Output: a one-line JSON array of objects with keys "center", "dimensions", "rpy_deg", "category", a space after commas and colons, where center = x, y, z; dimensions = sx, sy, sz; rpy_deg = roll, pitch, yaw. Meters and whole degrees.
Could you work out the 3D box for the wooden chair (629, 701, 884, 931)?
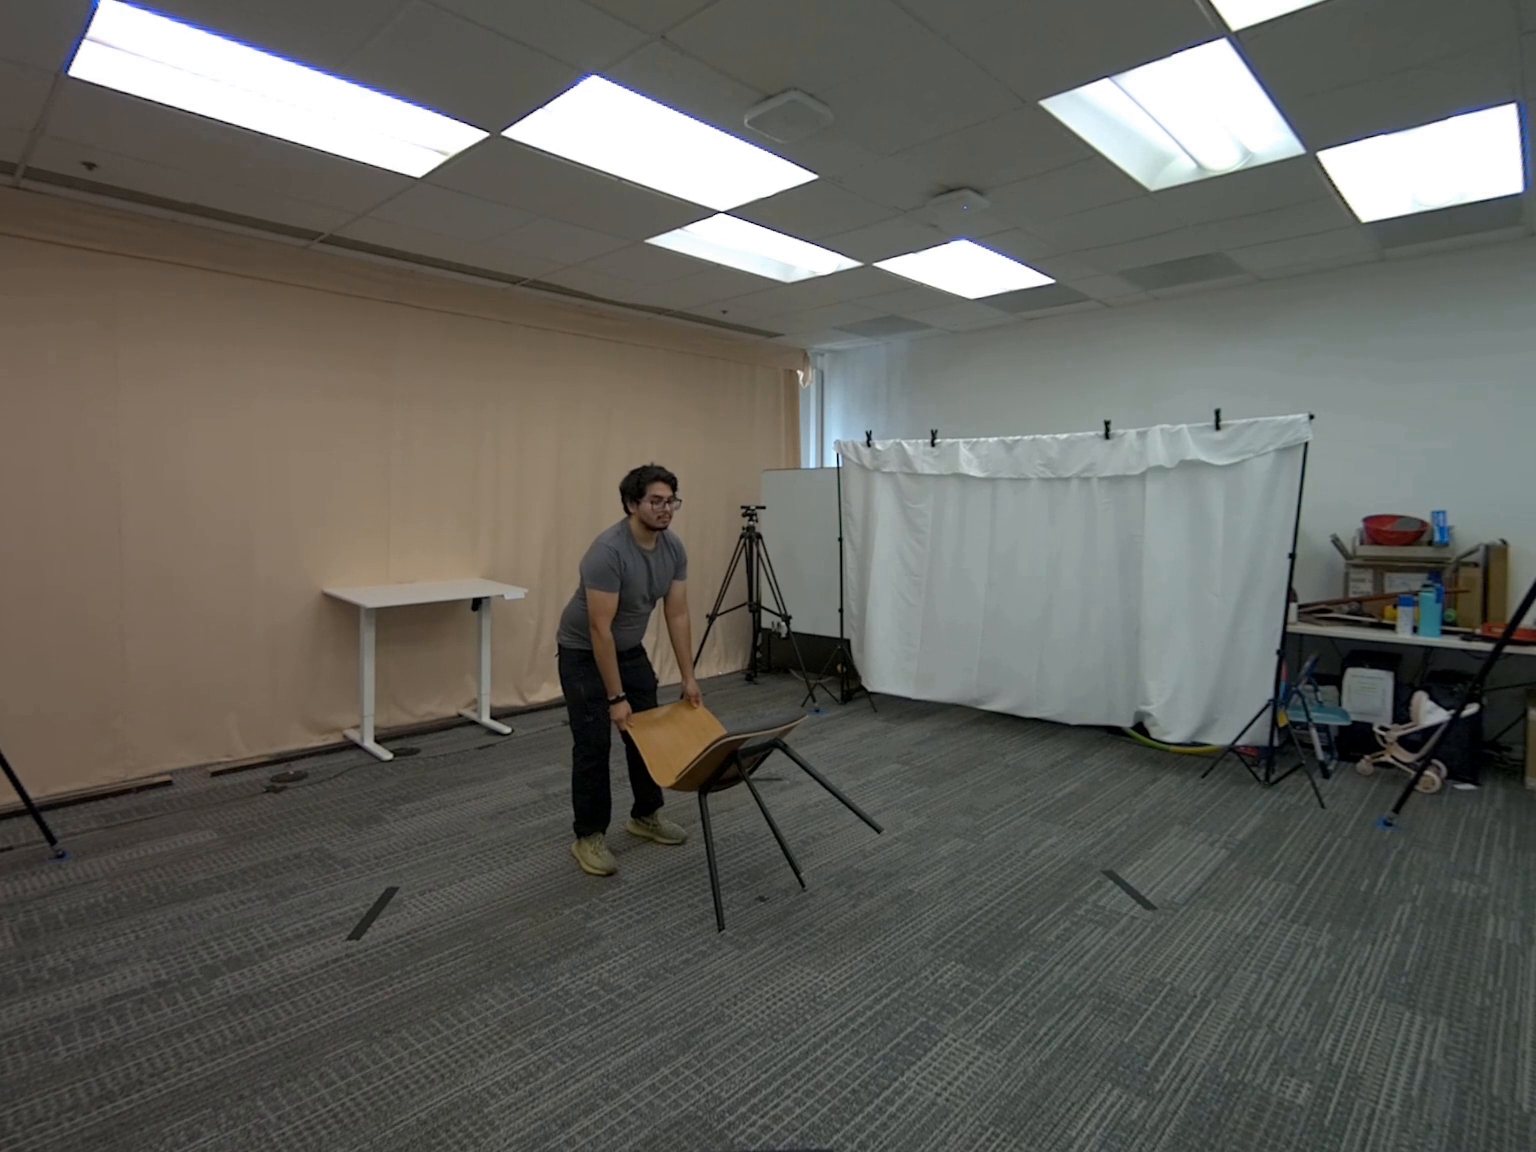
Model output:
[{"center": [-0.092, 0.670, 2.950], "dimensions": [0.463, 0.525, 0.902], "rpy_deg": [-4, 49, -47], "category": "wooden chair"}]
